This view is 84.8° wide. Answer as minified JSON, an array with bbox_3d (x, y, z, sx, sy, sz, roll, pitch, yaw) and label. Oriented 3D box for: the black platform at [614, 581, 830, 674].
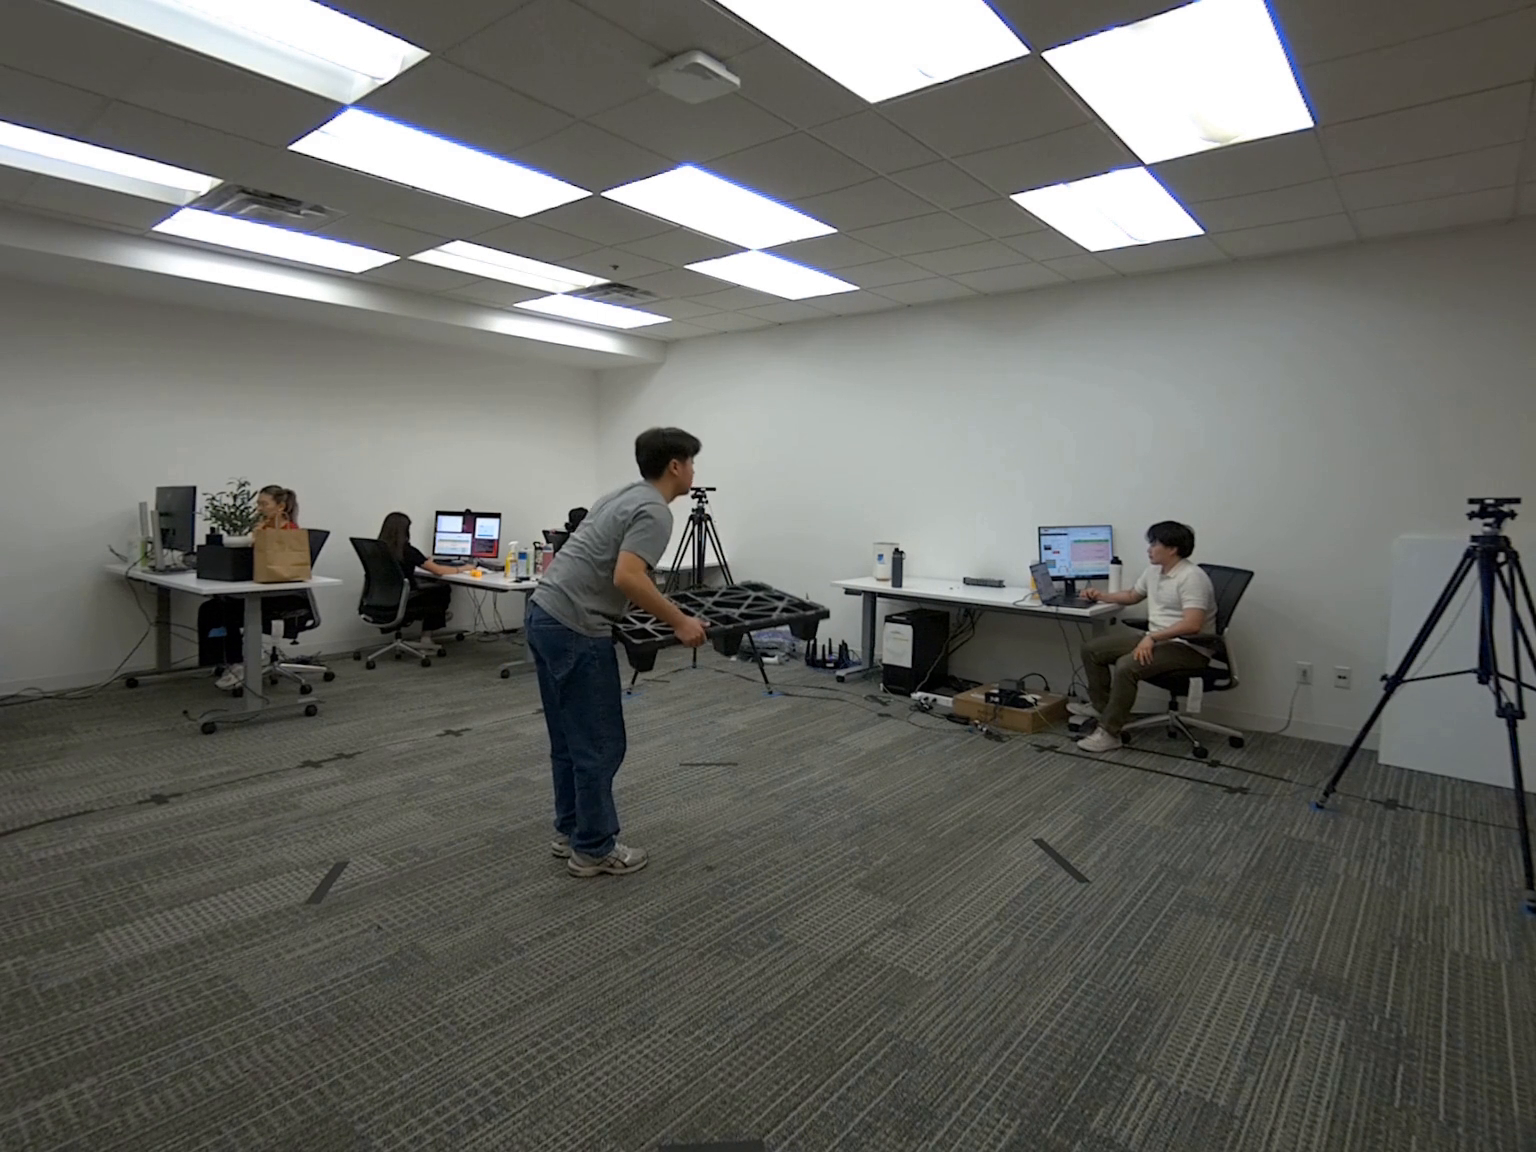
[{"bbox_3d":[-0.246,0.220,3.338,0.789,0.141,0.625,-9,14,-26],"label":"black platform"}]
